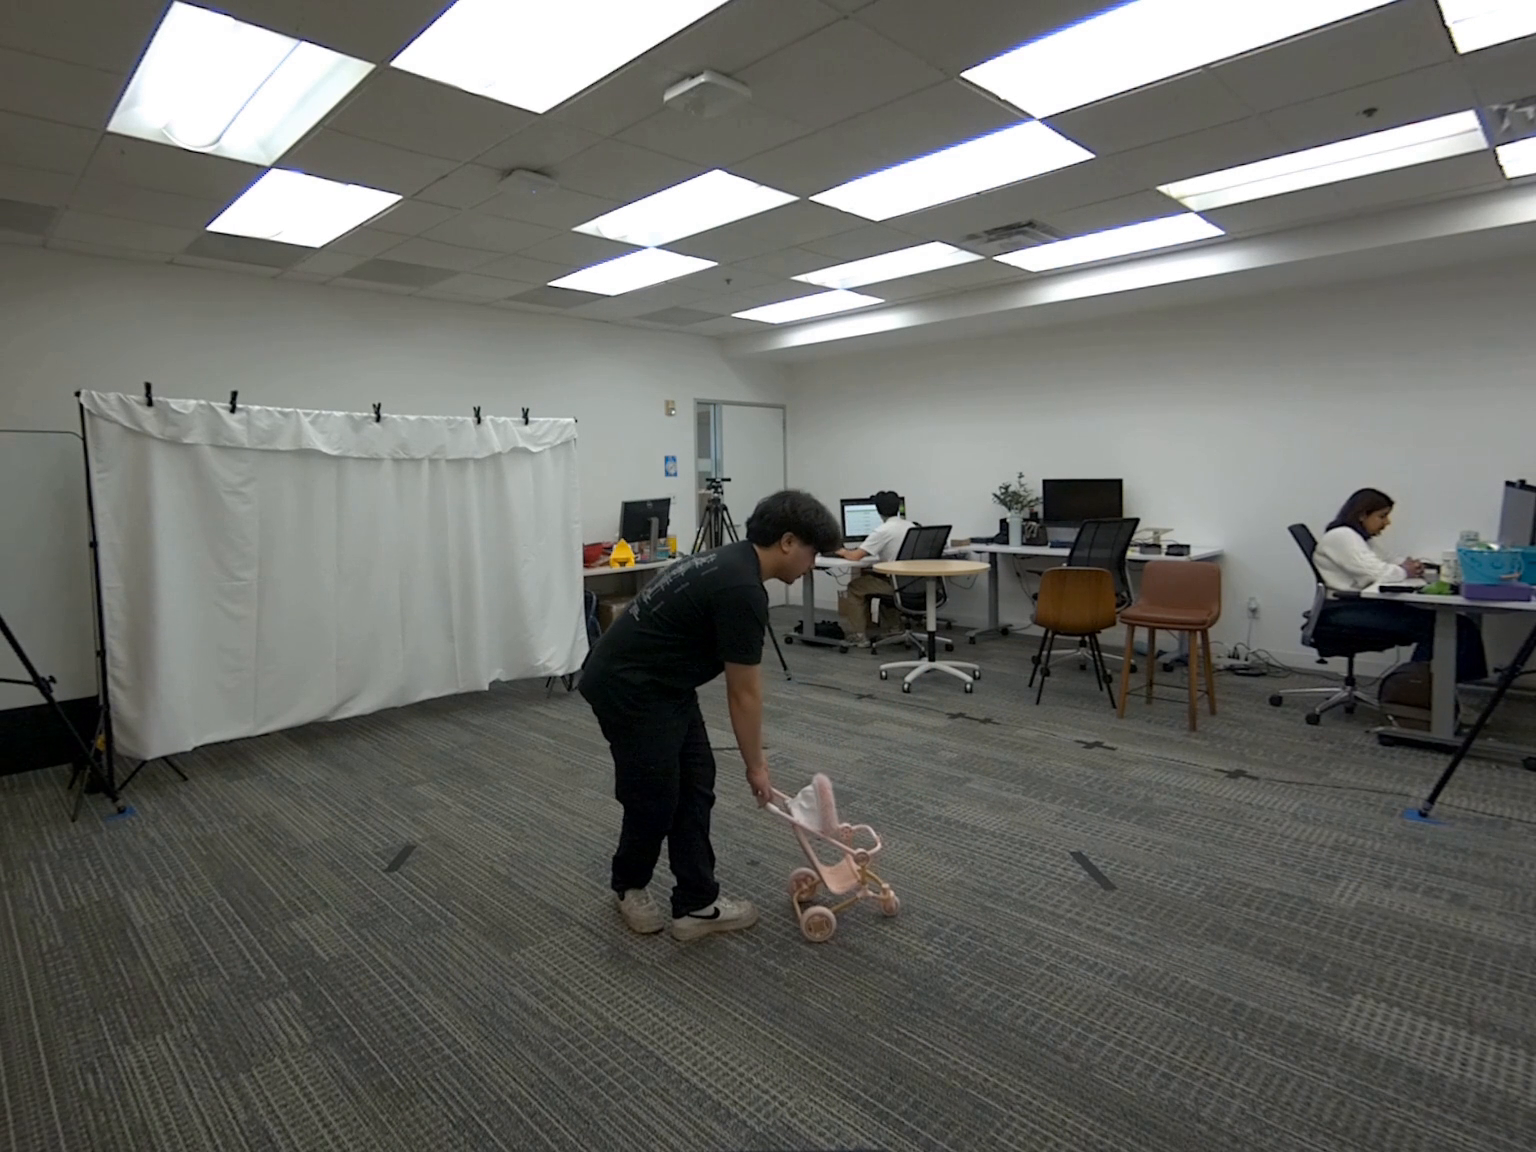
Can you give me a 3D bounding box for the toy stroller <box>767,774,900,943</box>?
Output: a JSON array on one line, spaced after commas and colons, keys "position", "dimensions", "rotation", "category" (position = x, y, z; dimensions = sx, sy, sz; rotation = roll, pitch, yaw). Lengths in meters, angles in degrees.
[{"position": [0.201, 0.864, 2.683], "dimensions": [0.341, 0.532, 0.283], "rotation": [-17, 5, -1], "category": "toy stroller"}]
